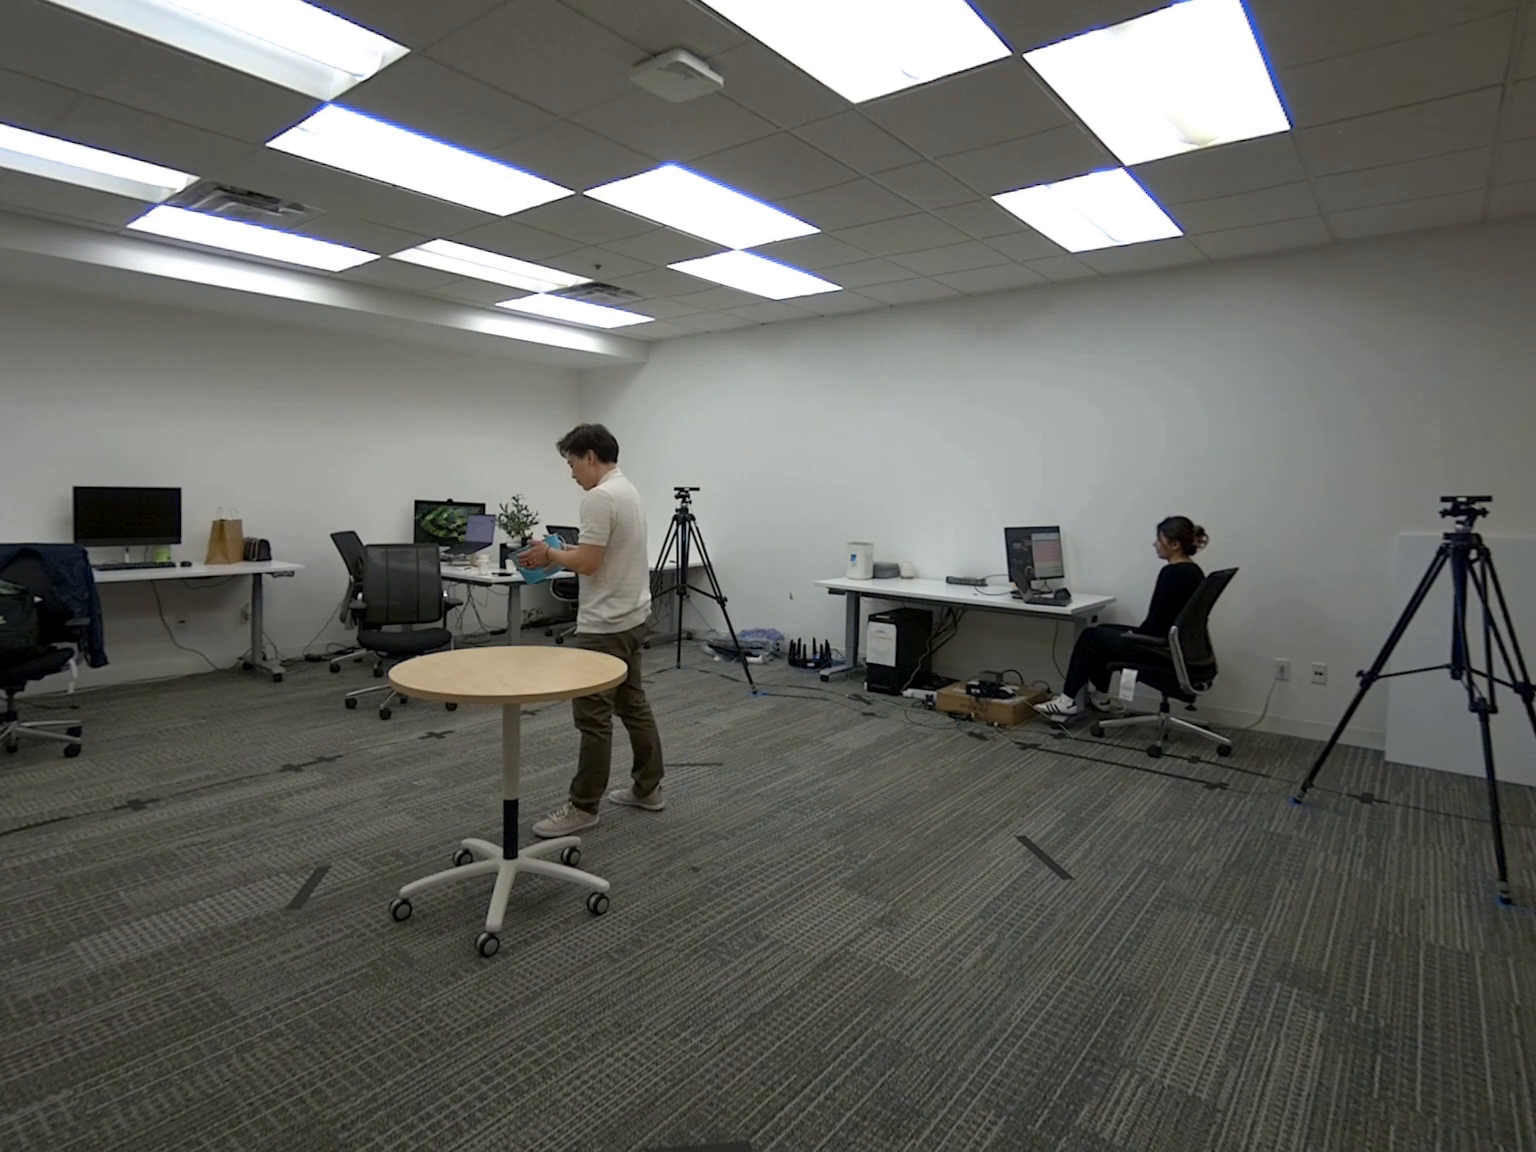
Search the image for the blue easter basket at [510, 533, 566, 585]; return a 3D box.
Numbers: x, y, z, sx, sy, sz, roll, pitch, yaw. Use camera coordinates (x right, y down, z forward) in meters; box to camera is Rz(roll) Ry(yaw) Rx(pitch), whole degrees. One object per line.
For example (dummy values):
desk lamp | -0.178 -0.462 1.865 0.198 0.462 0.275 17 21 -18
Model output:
blue easter basket | -1.001 -0.070 3.638 0.244 0.155 0.245 -24 7 1
